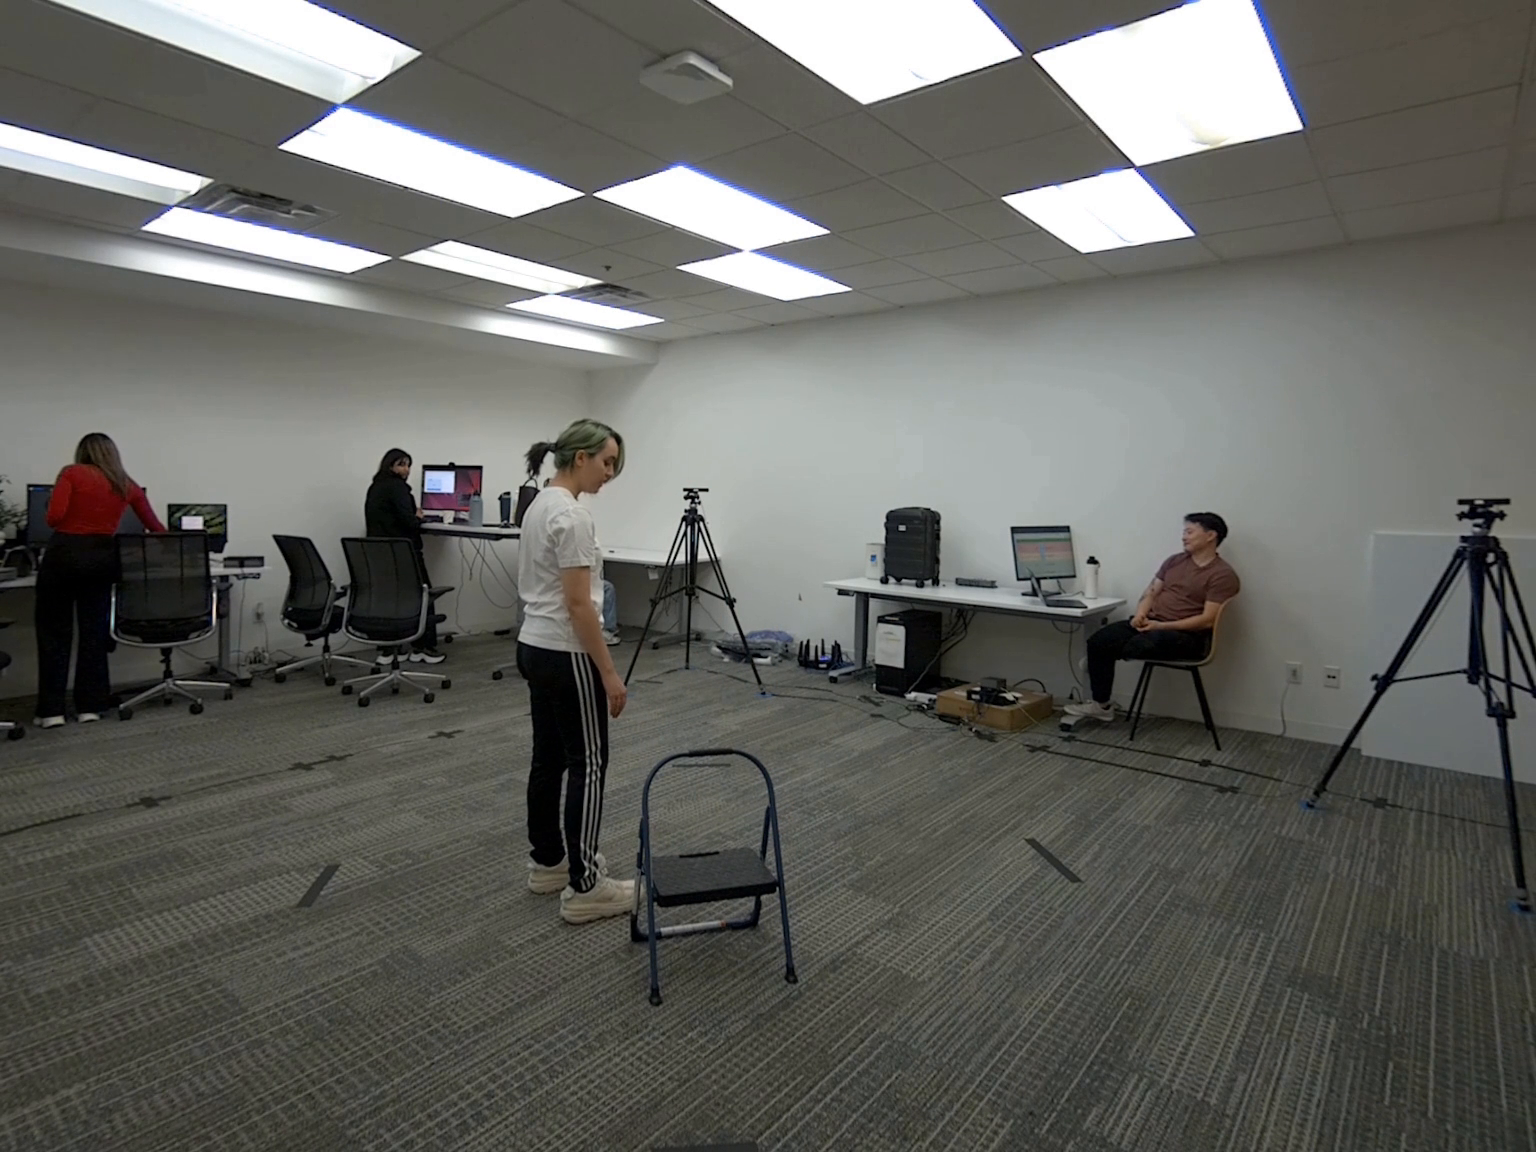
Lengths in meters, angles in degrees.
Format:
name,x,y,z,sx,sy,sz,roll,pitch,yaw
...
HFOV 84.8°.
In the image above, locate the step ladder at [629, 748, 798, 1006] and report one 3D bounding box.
name,x,y,z,sx,sy,sz,roll,pitch,yaw
step ladder,-0.173,0.831,2.492,0.423,0.604,0.357,0,4,-19
